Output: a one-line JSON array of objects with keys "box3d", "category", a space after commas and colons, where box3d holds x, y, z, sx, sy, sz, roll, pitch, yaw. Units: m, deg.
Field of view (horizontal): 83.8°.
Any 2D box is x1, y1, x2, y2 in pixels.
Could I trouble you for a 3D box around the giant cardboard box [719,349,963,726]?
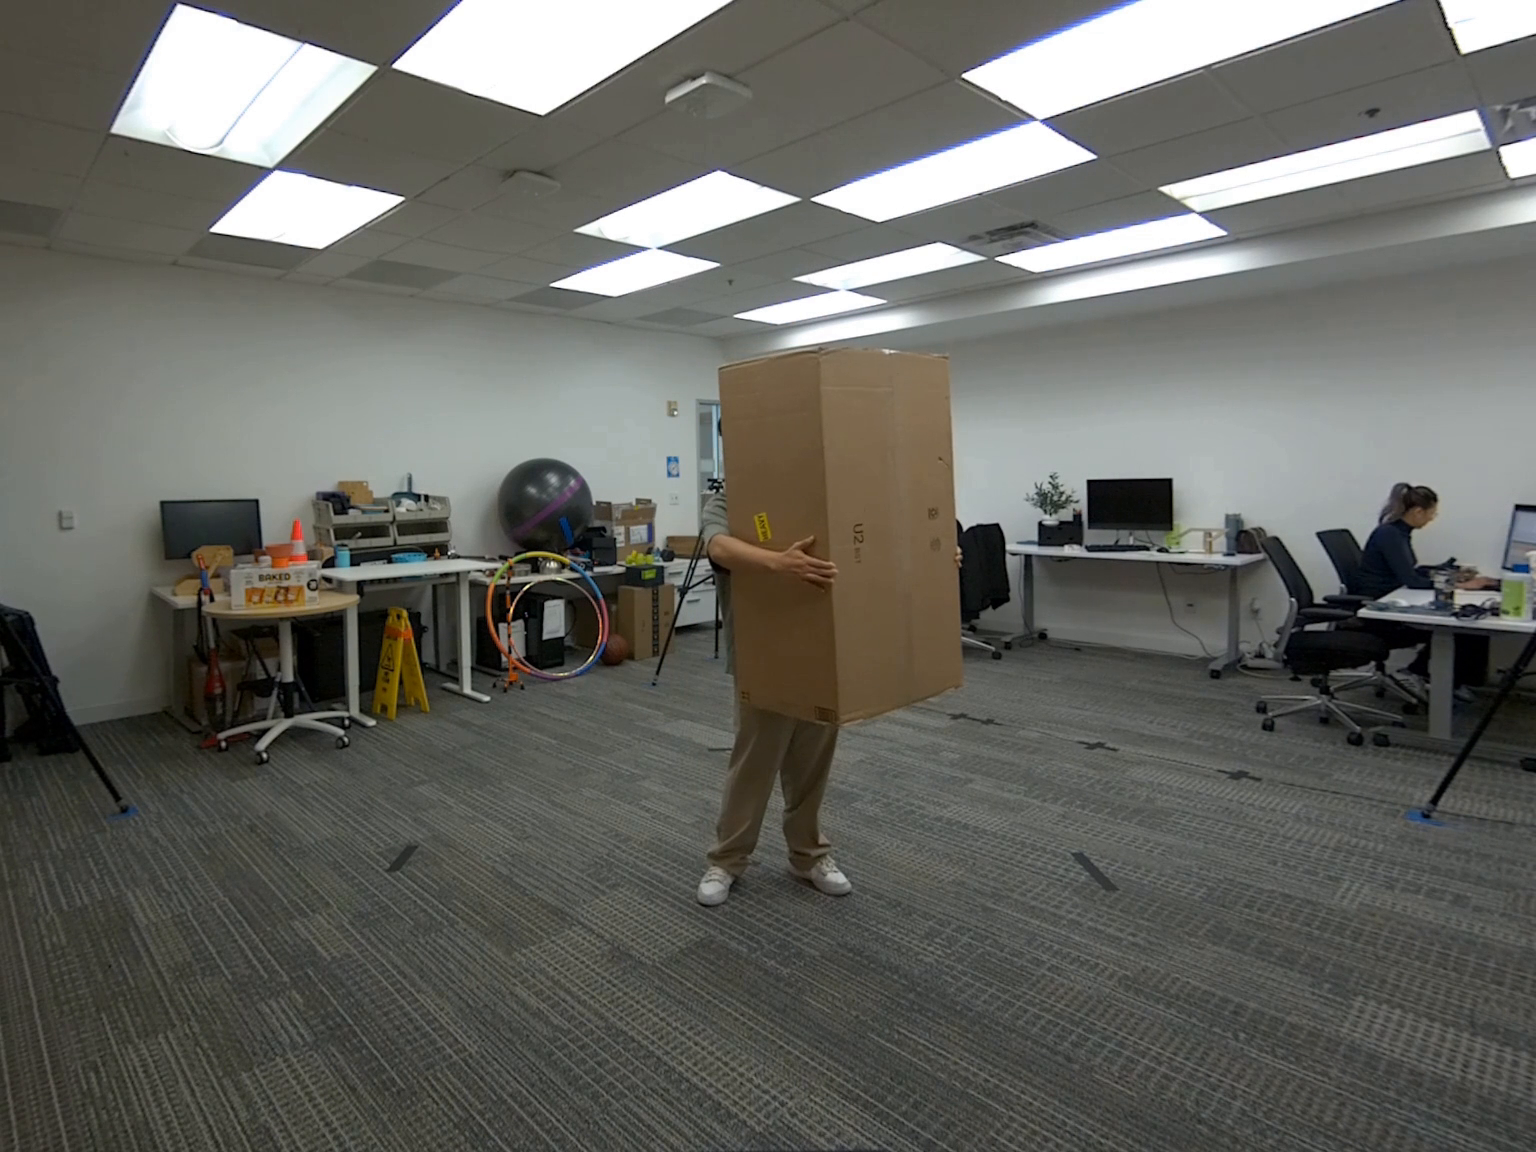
[{"box3d": [0.226, -0.144, 2.596, 0.563, 1.021, 0.439, -8, 6, -40], "category": "giant cardboard box"}]
